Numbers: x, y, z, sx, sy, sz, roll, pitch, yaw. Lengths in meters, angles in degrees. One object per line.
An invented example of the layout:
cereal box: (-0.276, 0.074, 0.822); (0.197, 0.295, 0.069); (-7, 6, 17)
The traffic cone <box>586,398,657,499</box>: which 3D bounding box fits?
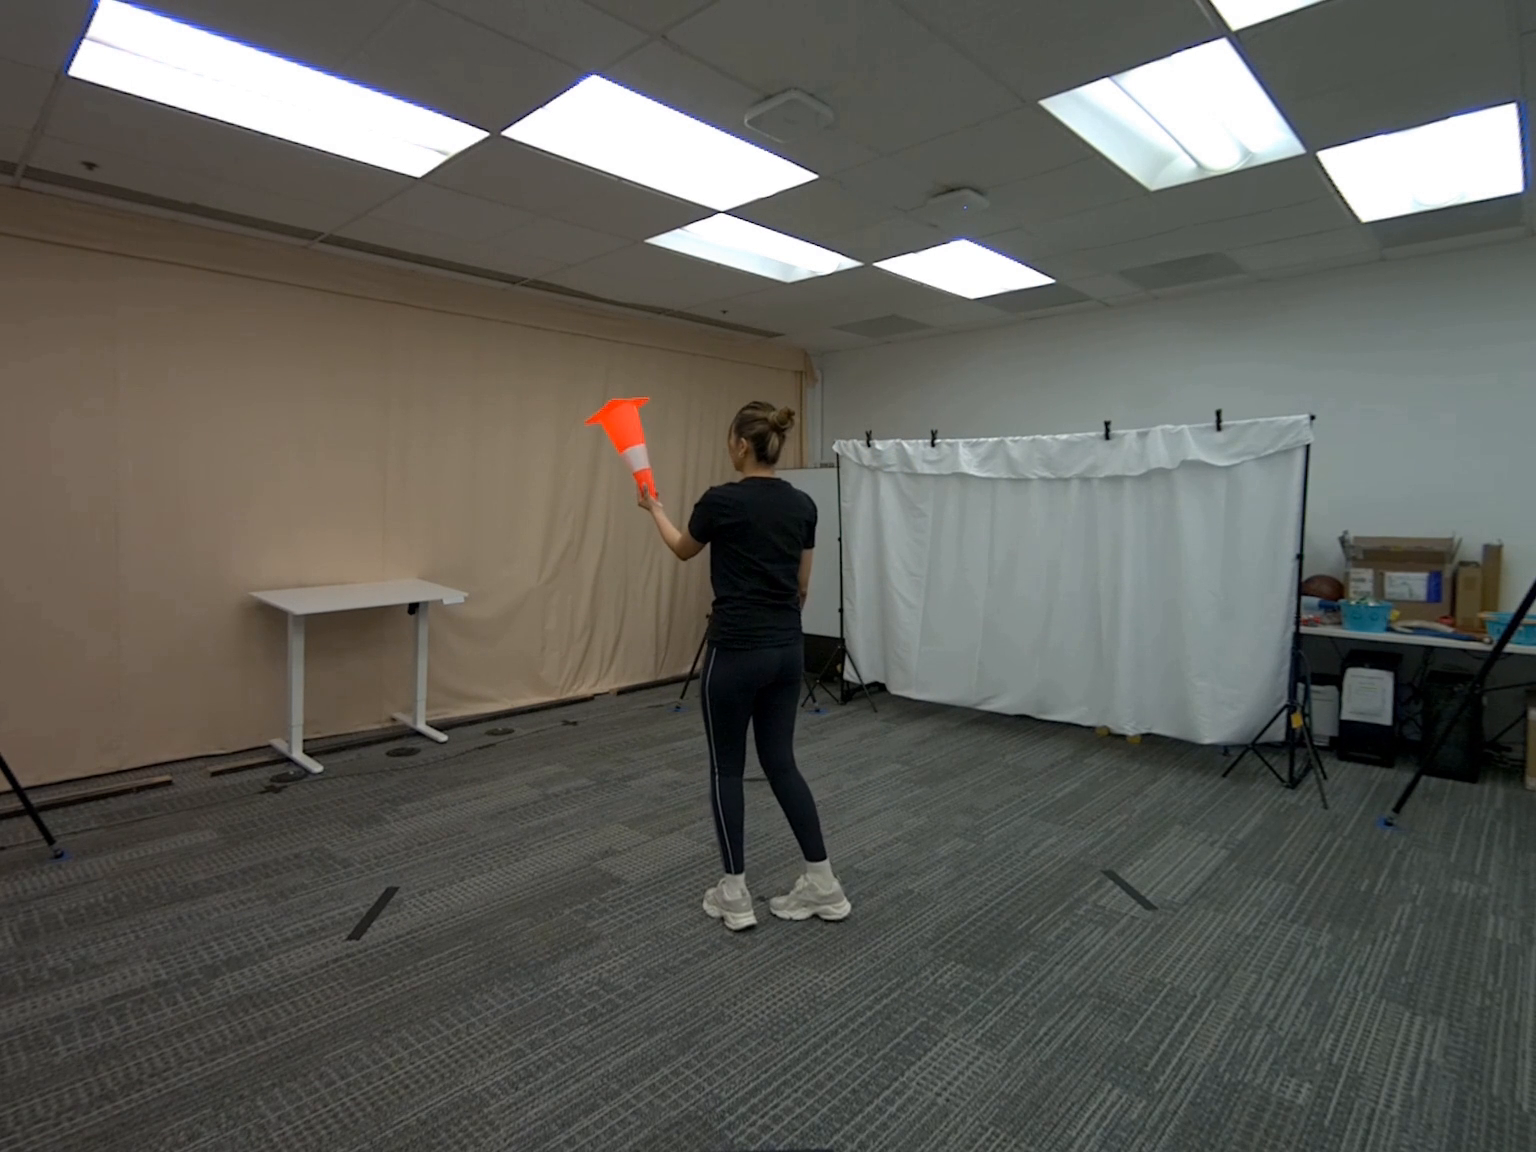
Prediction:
traffic cone: (-0.487, -0.453, 3.184); (0.198, 0.386, 0.209); (-15, -8, -40)
